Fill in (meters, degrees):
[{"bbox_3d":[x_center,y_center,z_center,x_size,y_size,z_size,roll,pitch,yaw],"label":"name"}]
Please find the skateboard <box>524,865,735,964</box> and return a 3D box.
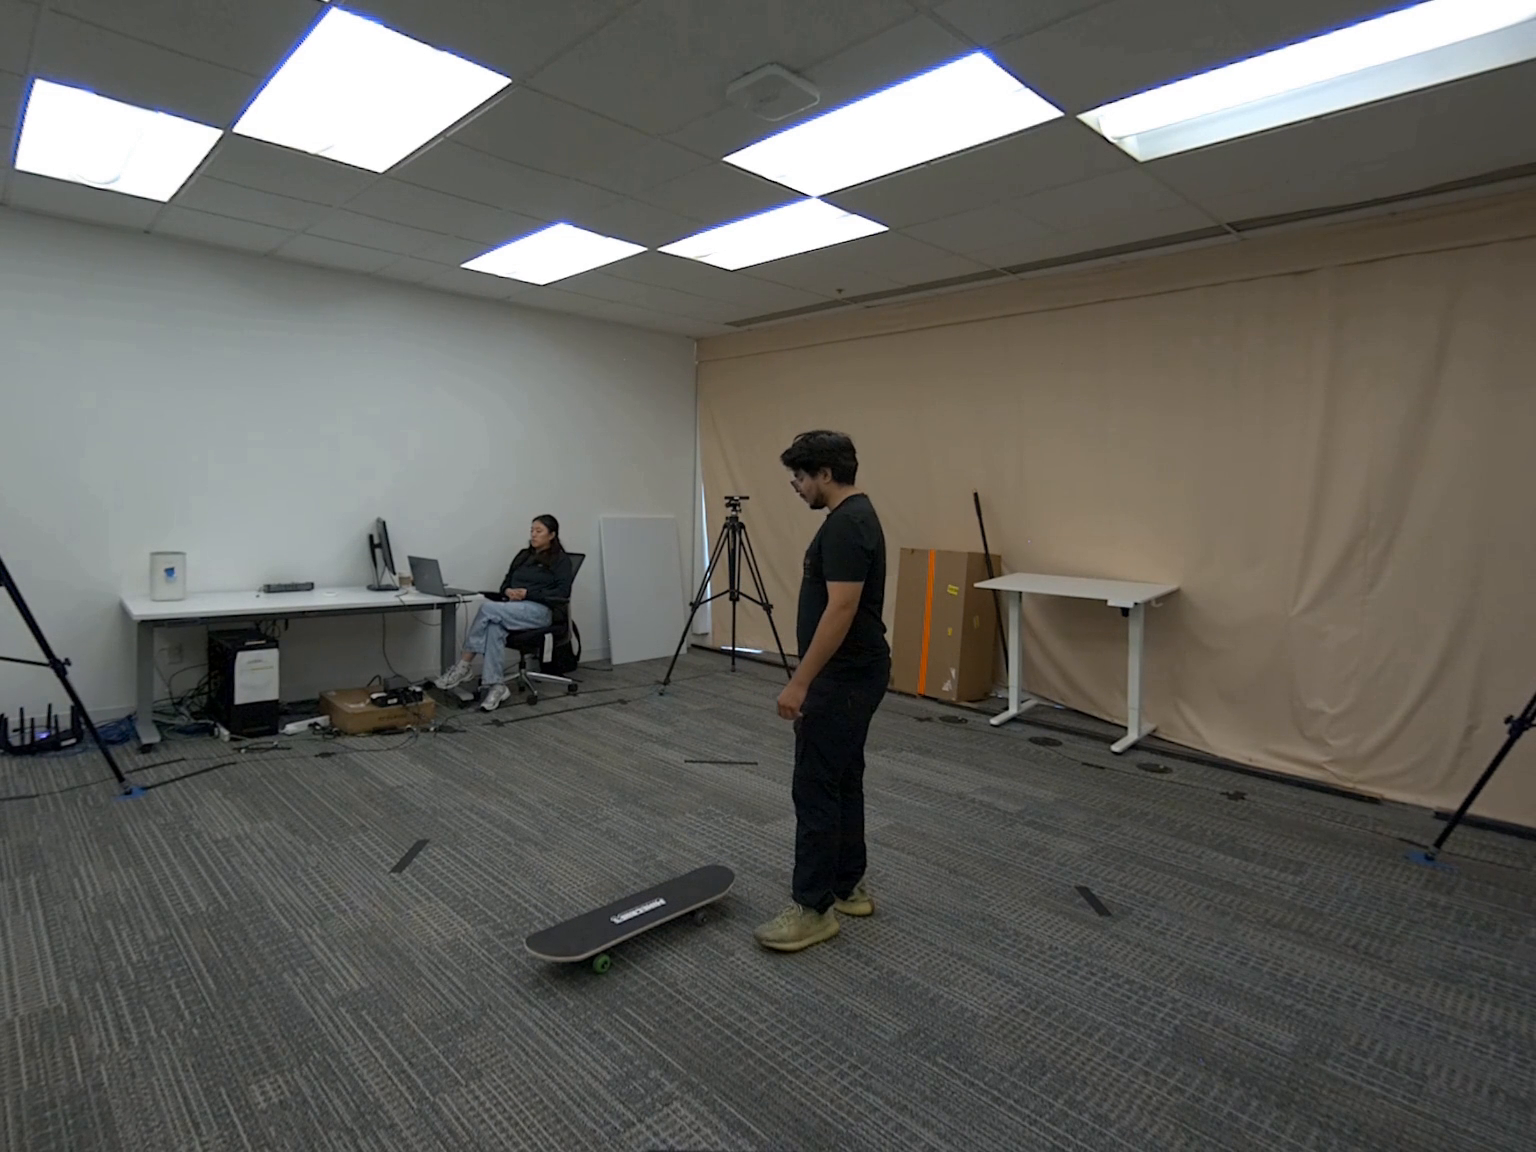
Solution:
[{"bbox_3d":[-0.409,1.085,2.642,0.198,0.110,0.767,6,6,42],"label":"skateboard"}]
